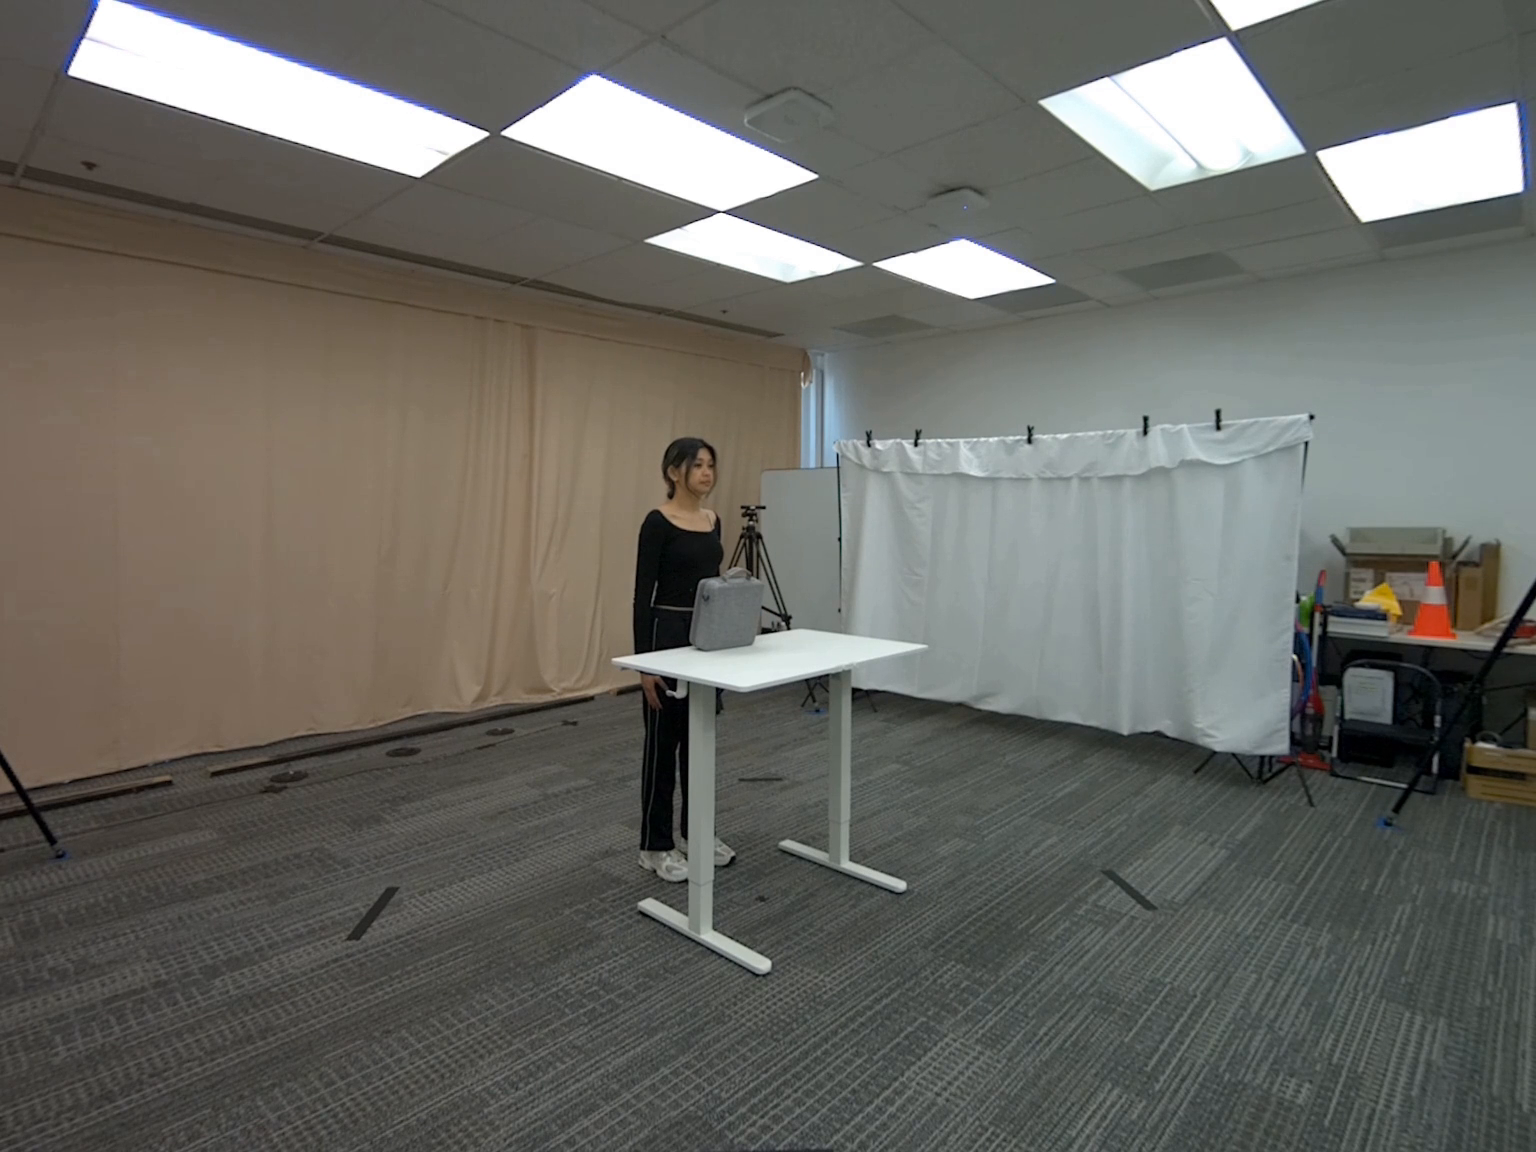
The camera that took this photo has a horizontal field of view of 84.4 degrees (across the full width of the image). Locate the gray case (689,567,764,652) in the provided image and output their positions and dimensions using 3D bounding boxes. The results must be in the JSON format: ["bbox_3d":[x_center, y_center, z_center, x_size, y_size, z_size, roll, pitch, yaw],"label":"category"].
[{"bbox_3d":[-0.143,0.126,3.006,0.249,0.259,0.108,-2,17,-39],"label":"gray case"}]
